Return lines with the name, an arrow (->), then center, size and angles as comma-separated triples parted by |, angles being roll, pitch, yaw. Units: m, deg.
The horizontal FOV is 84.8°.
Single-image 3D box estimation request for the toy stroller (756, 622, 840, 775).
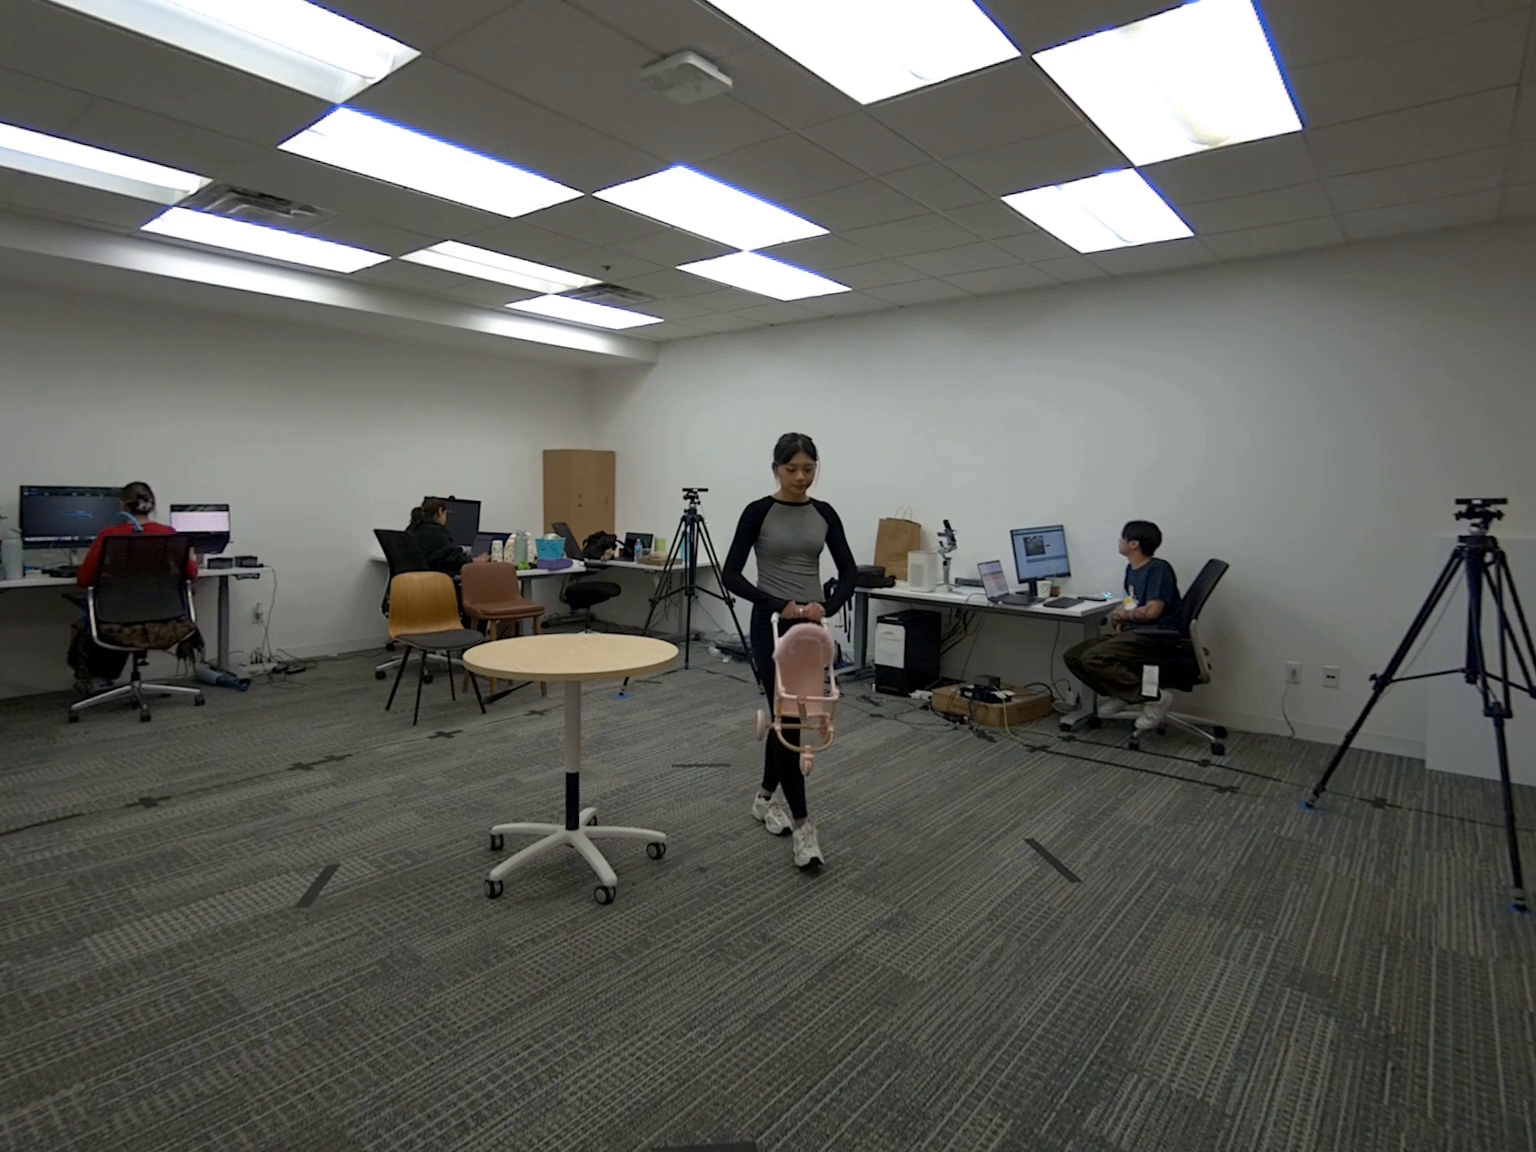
toy stroller -> 0.110, 0.390, 2.962 | 0.281, 0.535, 0.342 | 3, 1, -2
